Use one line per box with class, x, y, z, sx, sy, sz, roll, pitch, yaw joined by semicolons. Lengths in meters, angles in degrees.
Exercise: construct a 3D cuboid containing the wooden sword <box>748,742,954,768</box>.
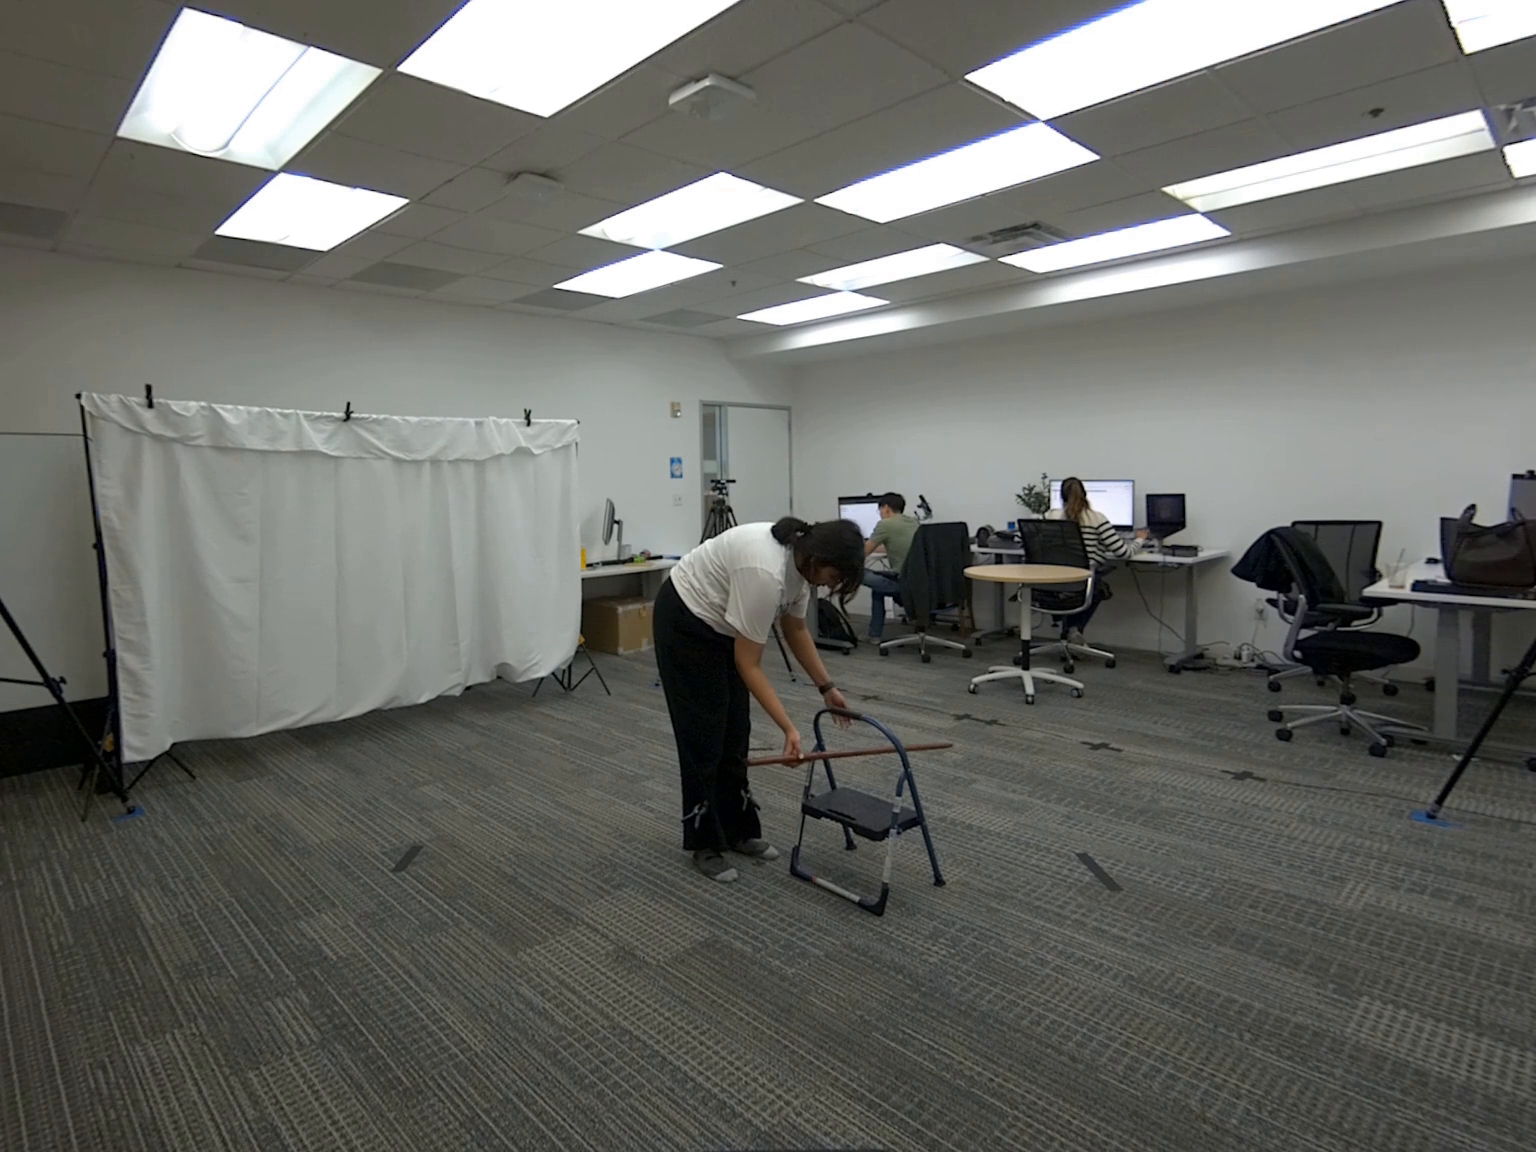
wooden sword;0.300;0.595;2.955;0.994;0.053;0.024;6;-32;-36
